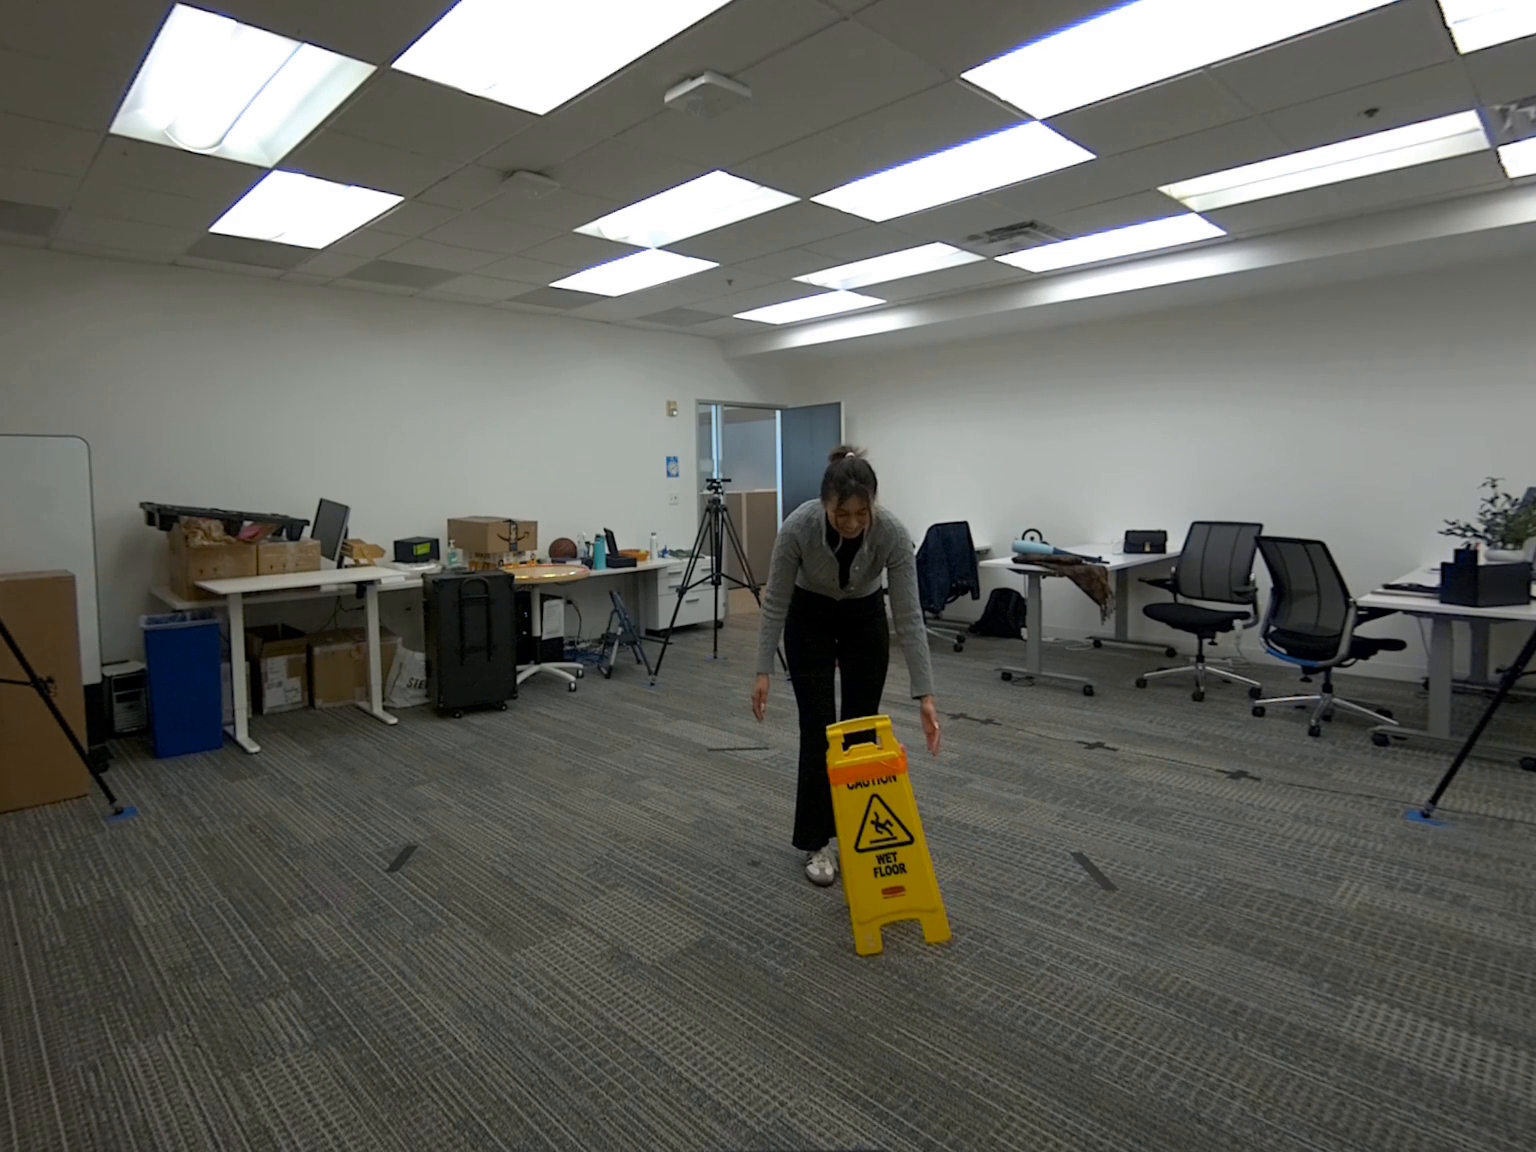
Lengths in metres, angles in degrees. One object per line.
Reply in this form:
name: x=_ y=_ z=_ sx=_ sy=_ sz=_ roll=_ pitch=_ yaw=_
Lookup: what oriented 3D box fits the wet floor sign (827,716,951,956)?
wet floor sign: x=0.342 y=0.757 z=2.617 sx=0.282 sy=0.643 sz=0.291 roll=-10 pitch=4 yaw=0
